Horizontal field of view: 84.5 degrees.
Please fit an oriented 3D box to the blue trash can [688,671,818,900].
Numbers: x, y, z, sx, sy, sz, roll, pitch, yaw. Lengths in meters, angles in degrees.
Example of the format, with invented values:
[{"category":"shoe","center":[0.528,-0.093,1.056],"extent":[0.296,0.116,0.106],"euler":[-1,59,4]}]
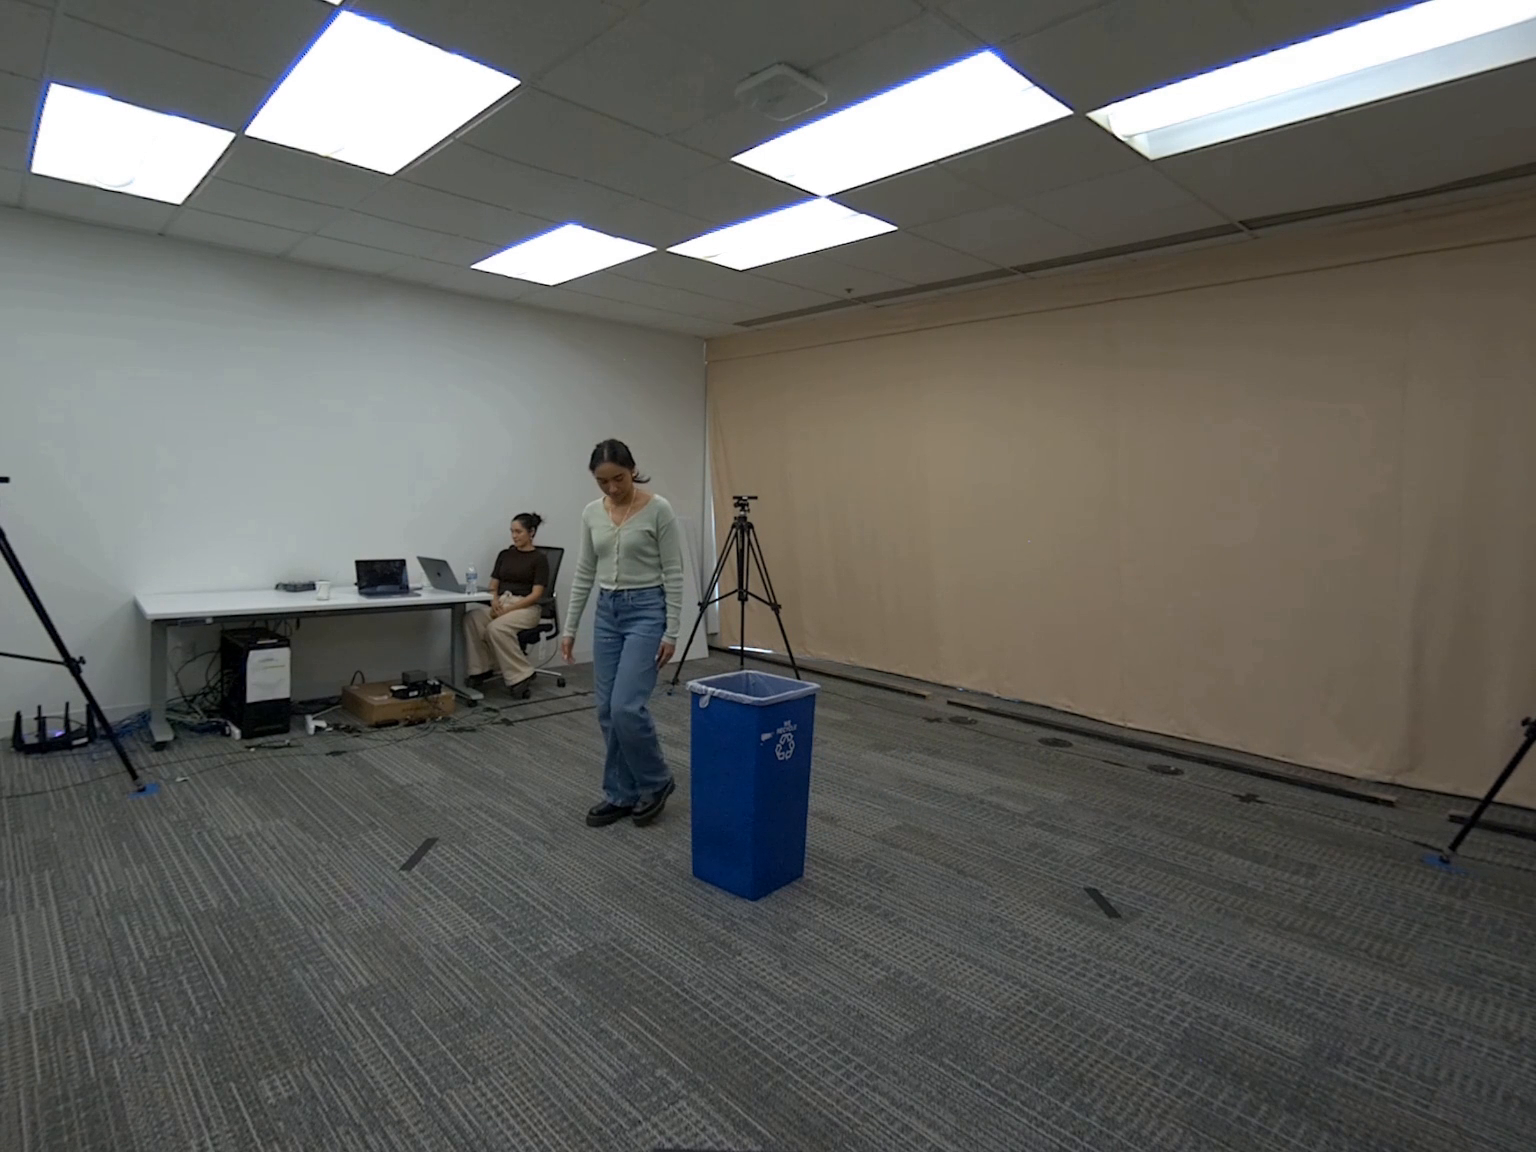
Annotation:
[{"category":"blue trash can","center":[-0.068,0.746,3.092],"extent":[0.387,0.712,0.366],"euler":[4,5,41]}]
